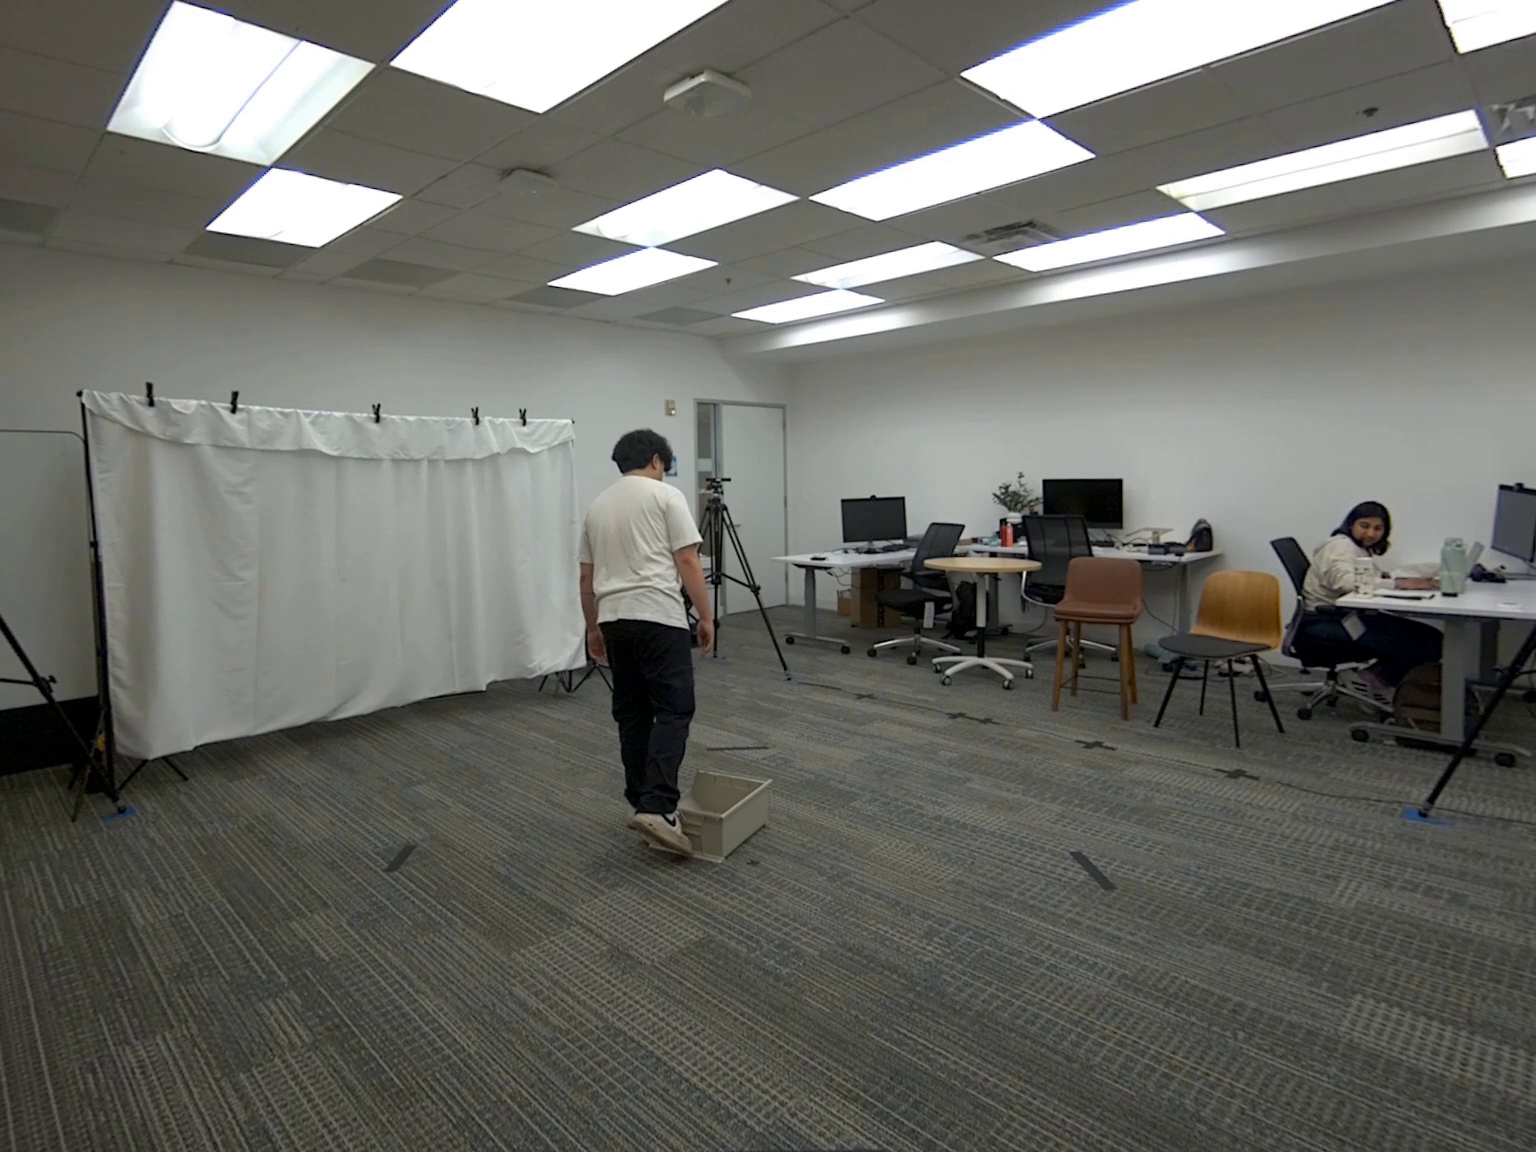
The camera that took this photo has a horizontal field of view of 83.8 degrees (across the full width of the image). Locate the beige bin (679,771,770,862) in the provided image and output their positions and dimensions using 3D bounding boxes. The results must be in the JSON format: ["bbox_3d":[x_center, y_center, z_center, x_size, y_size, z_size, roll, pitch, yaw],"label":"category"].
[{"bbox_3d":[-0.242,0.926,3.359,0.387,0.188,0.414,4,7,26],"label":"beige bin"}]
